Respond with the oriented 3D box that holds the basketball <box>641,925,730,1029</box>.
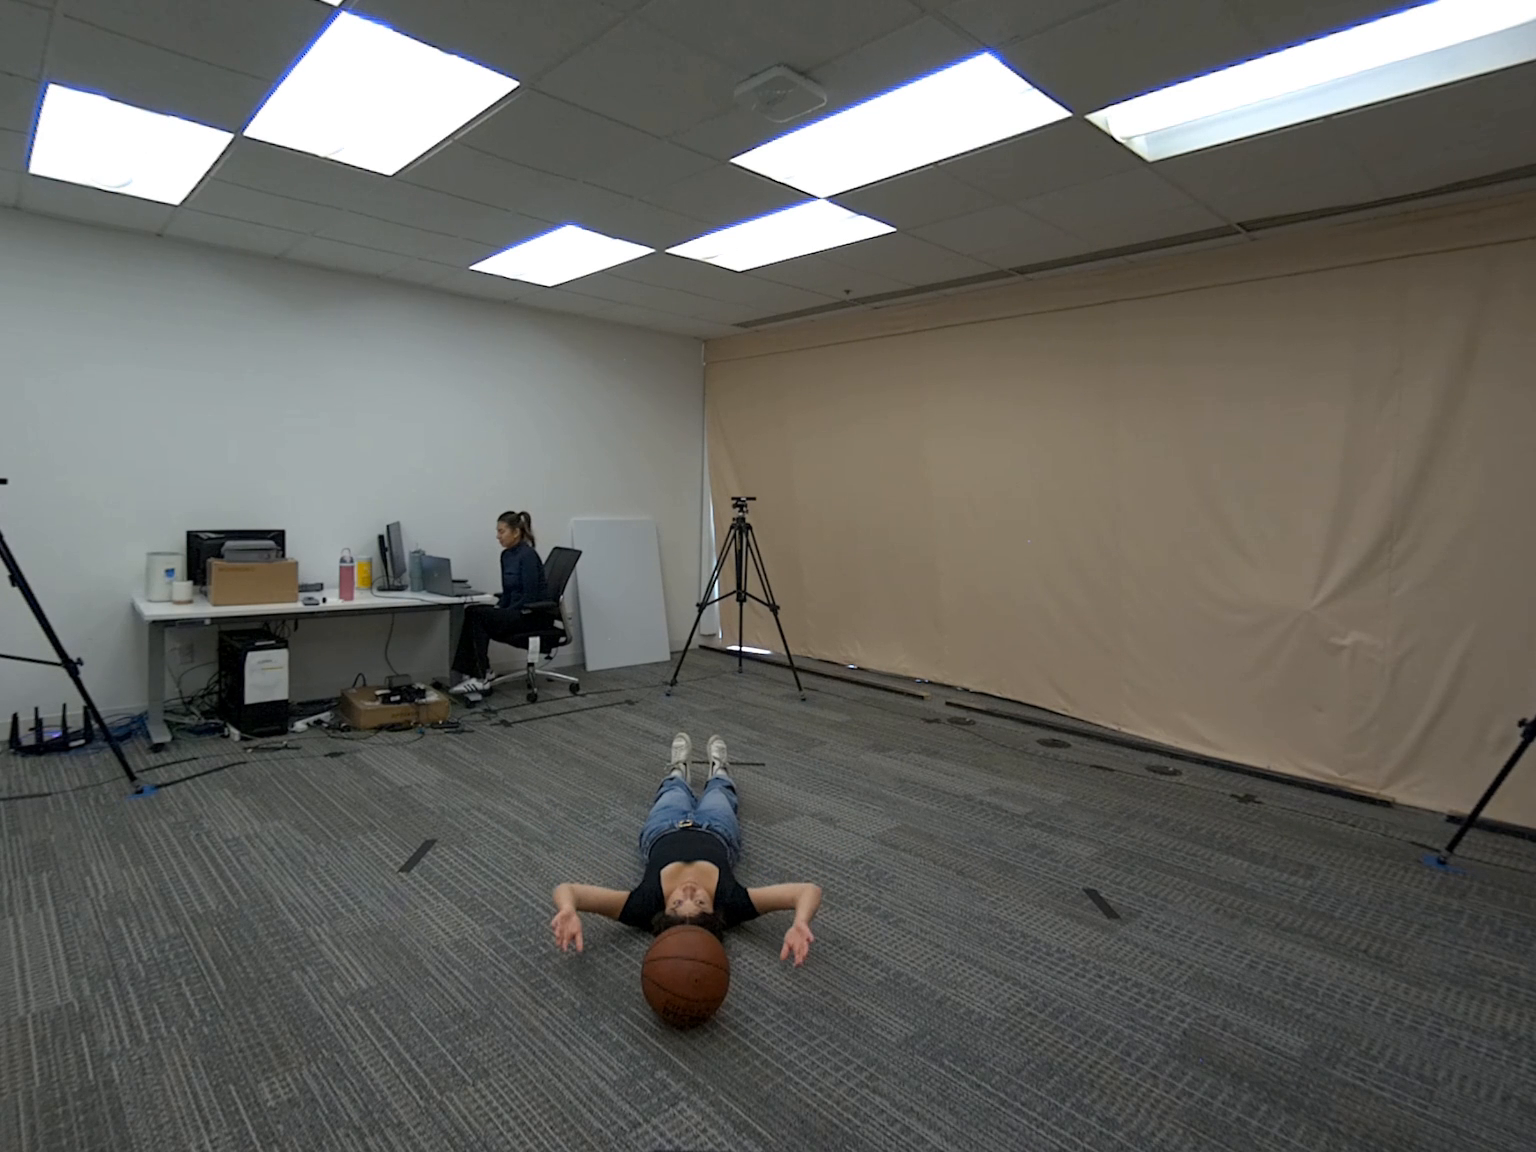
[{"bbox_3d":[-0.220,1.064,2.240,0.236,0.235,0.237,1,4,-1],"label":"basketball"}]
